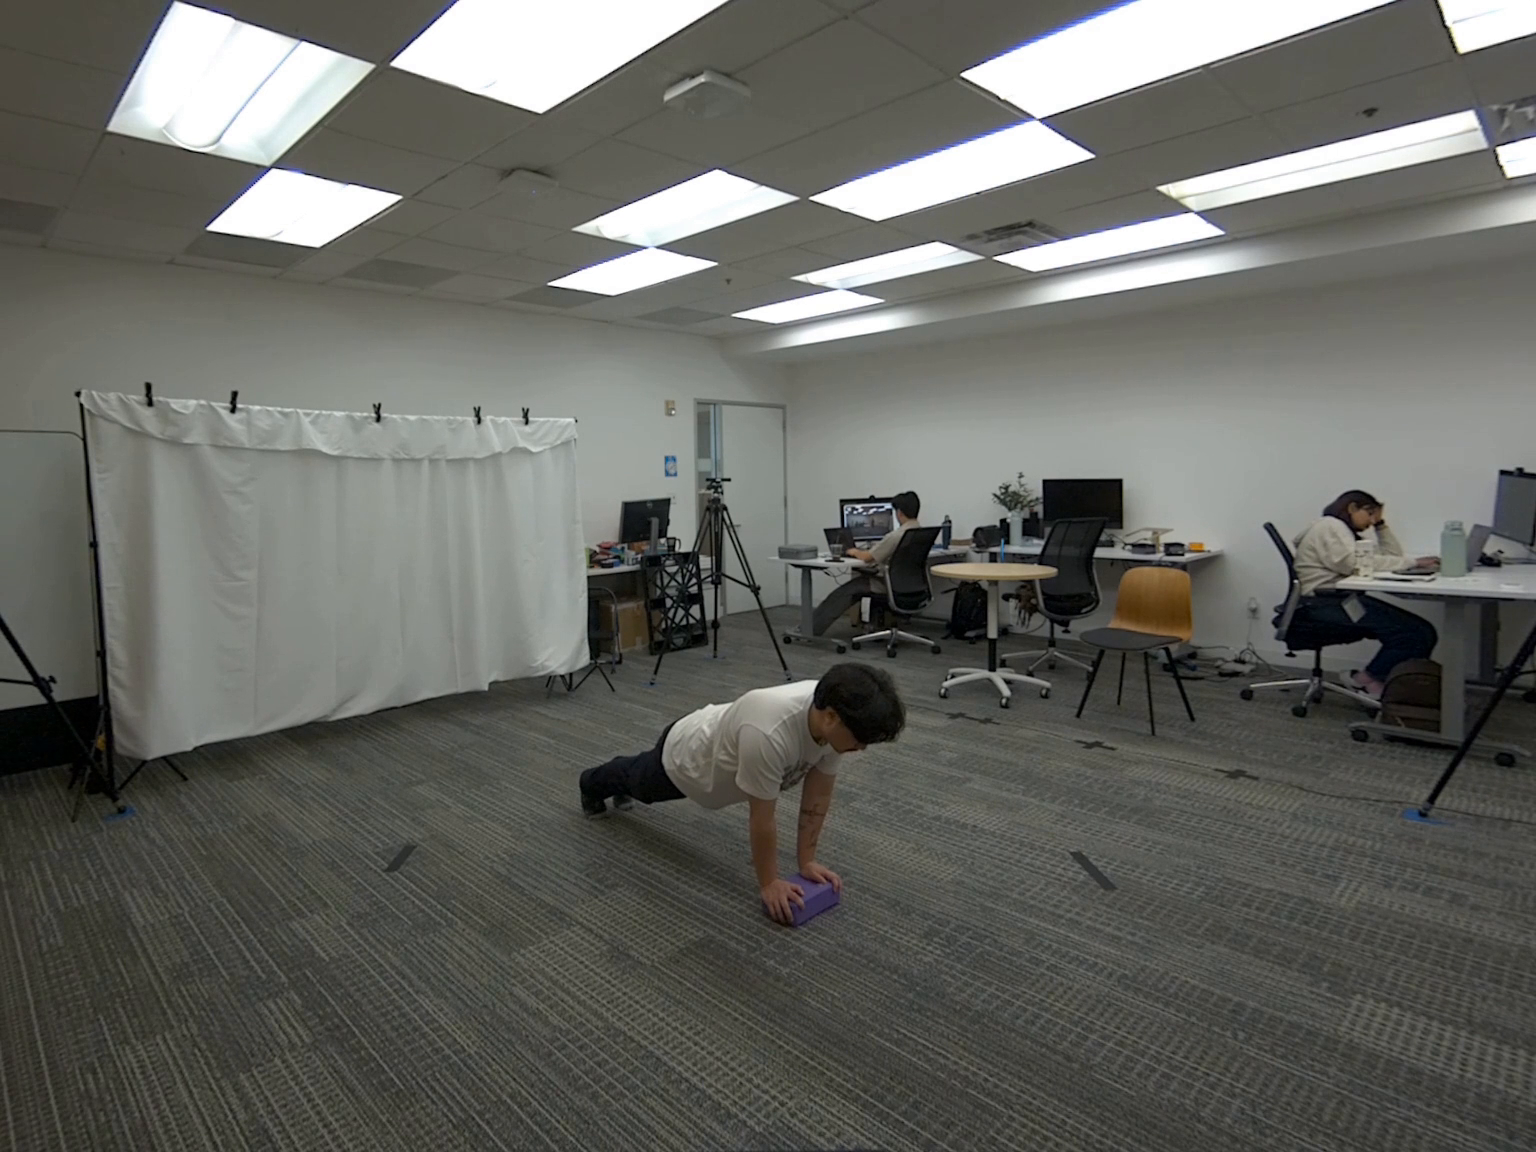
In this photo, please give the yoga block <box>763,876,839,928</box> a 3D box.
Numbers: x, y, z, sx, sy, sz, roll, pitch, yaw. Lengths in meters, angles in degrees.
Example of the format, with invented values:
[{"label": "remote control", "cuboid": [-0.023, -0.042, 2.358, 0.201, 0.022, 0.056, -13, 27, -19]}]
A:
[{"label": "yoga block", "cuboid": [0.114, 1.041, 2.780, 0.154, 0.076, 0.223, 6, 9, 43]}]
